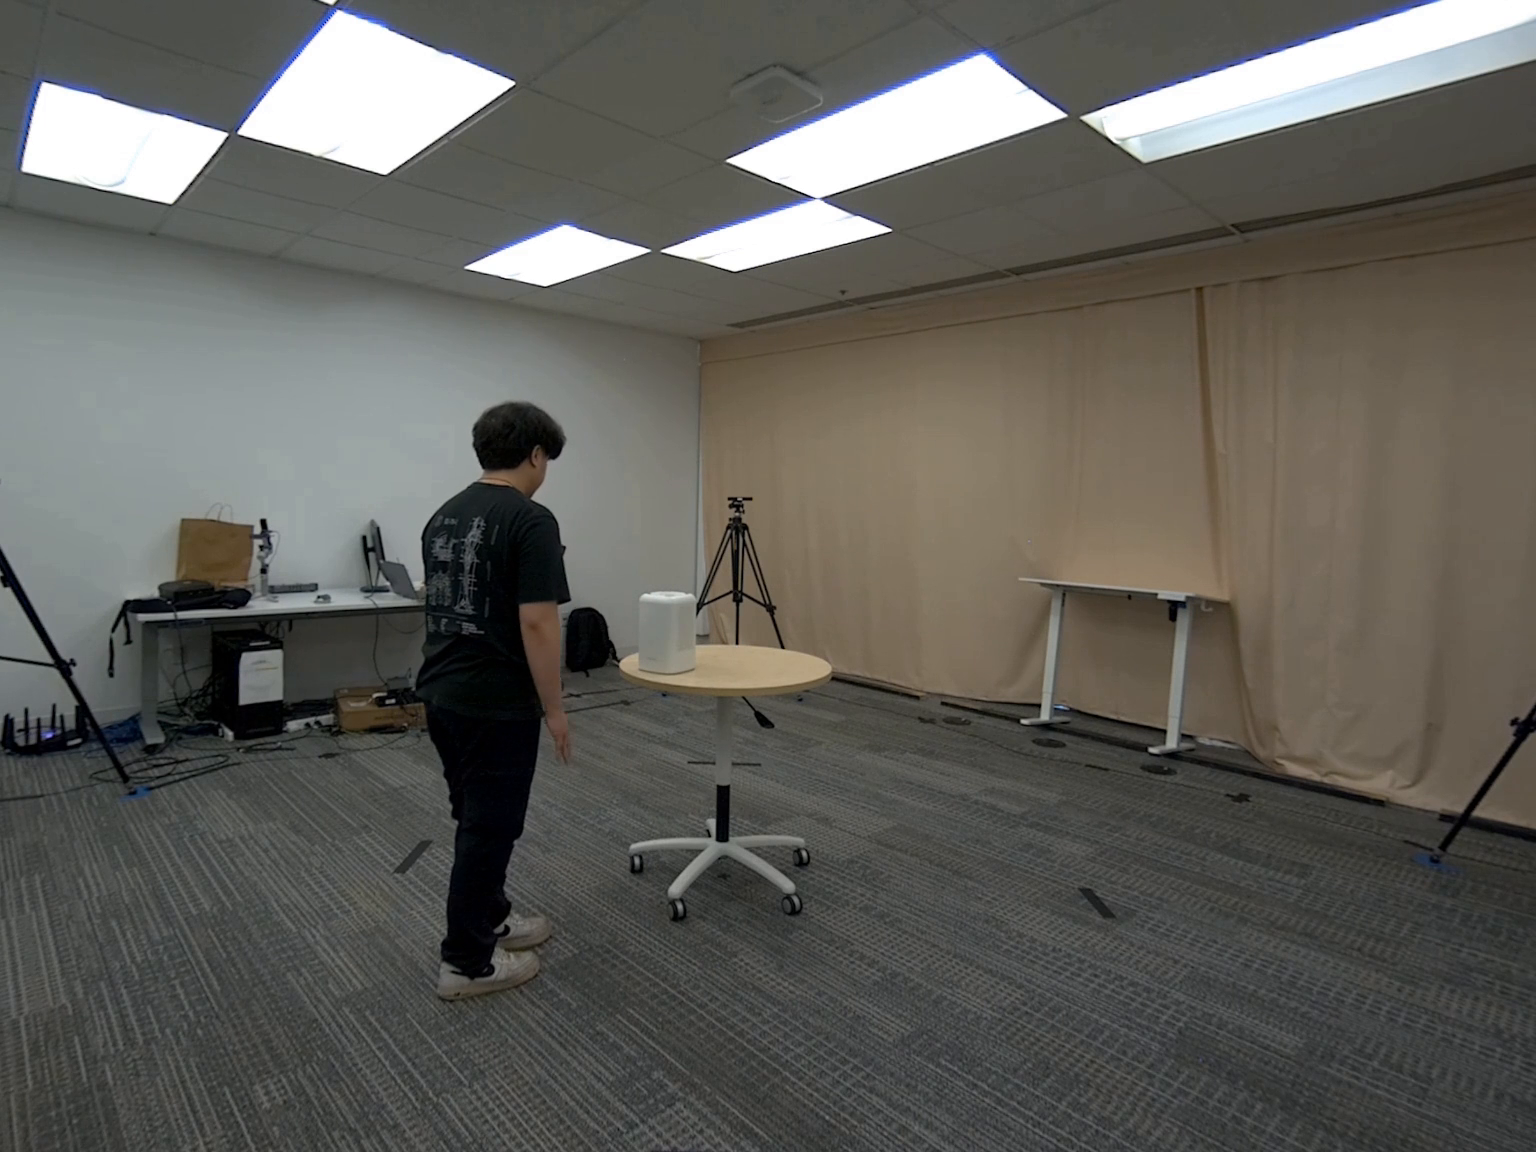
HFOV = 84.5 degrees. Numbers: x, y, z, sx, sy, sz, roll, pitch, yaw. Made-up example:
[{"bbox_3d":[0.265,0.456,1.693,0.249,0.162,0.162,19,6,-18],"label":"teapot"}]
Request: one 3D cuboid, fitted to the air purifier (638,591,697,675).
[{"bbox_3d":[-0.358,0.192,2.932,0.175,0.264,0.168,3,5,33],"label":"air purifier"}]
